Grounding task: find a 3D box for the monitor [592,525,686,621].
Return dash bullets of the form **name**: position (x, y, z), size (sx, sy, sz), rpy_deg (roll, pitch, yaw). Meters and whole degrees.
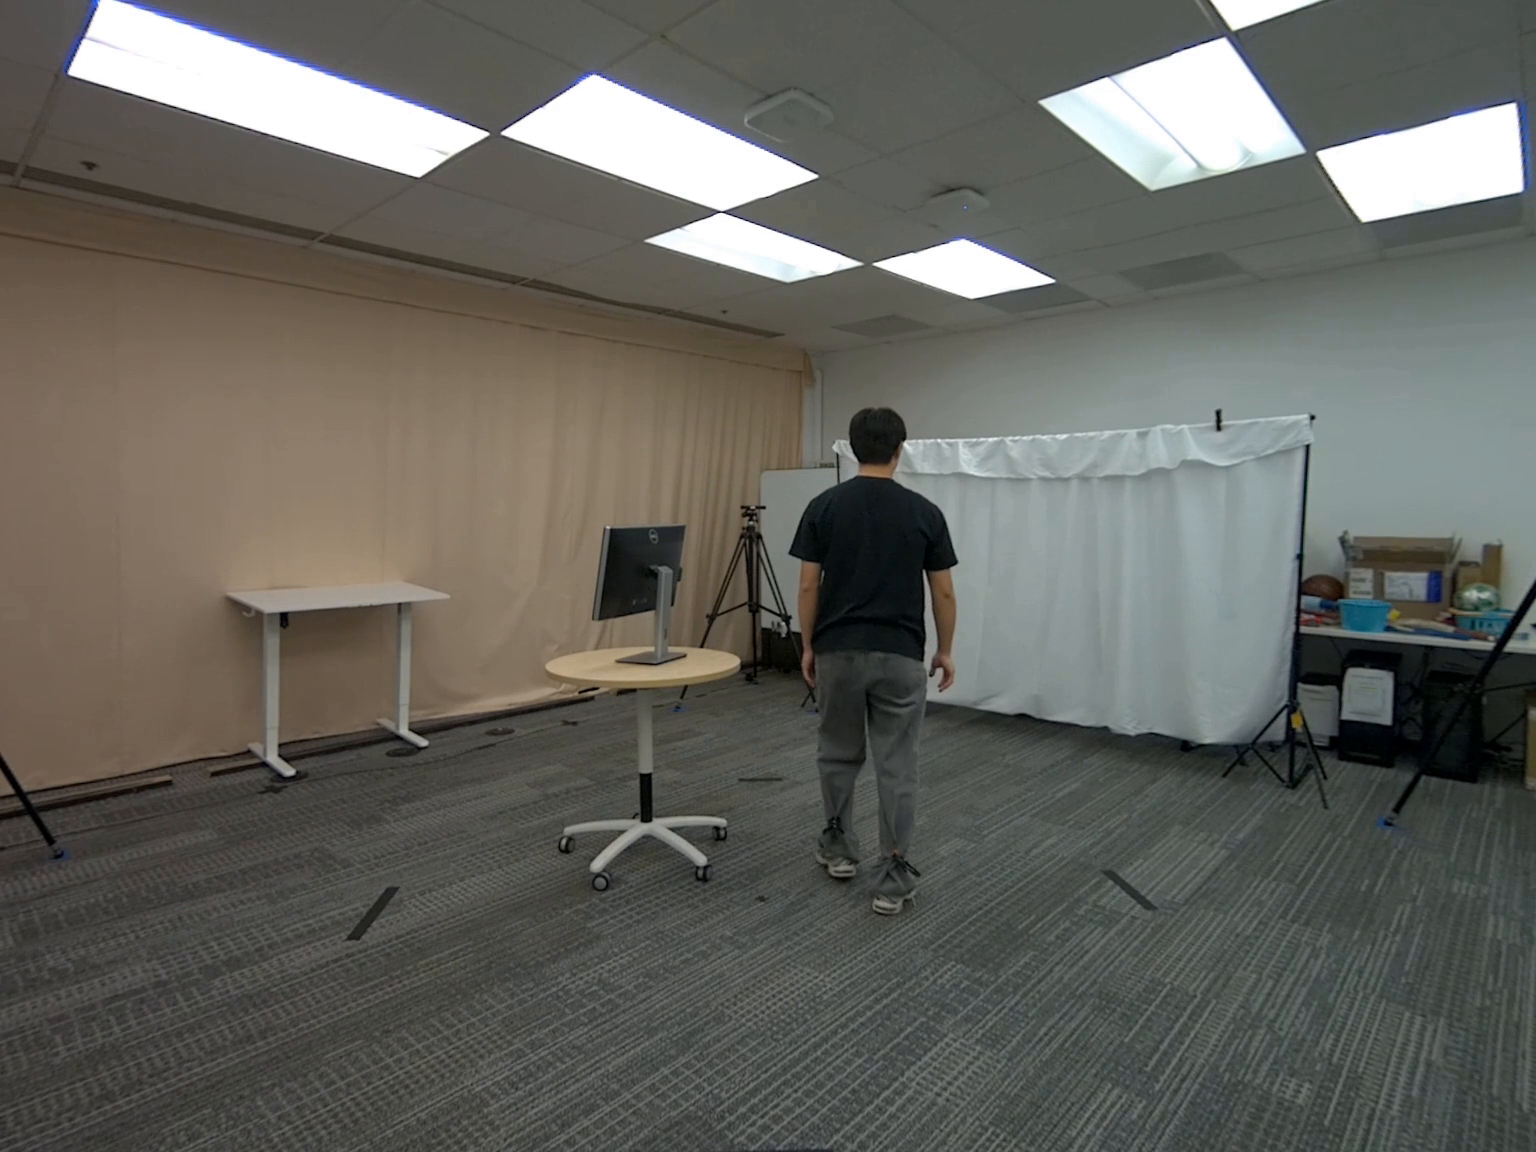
- **monitor**: position (-0.478, 0.077, 3.378), size (0.228, 0.565, 0.547), rpy_deg (-3, 2, 29)
